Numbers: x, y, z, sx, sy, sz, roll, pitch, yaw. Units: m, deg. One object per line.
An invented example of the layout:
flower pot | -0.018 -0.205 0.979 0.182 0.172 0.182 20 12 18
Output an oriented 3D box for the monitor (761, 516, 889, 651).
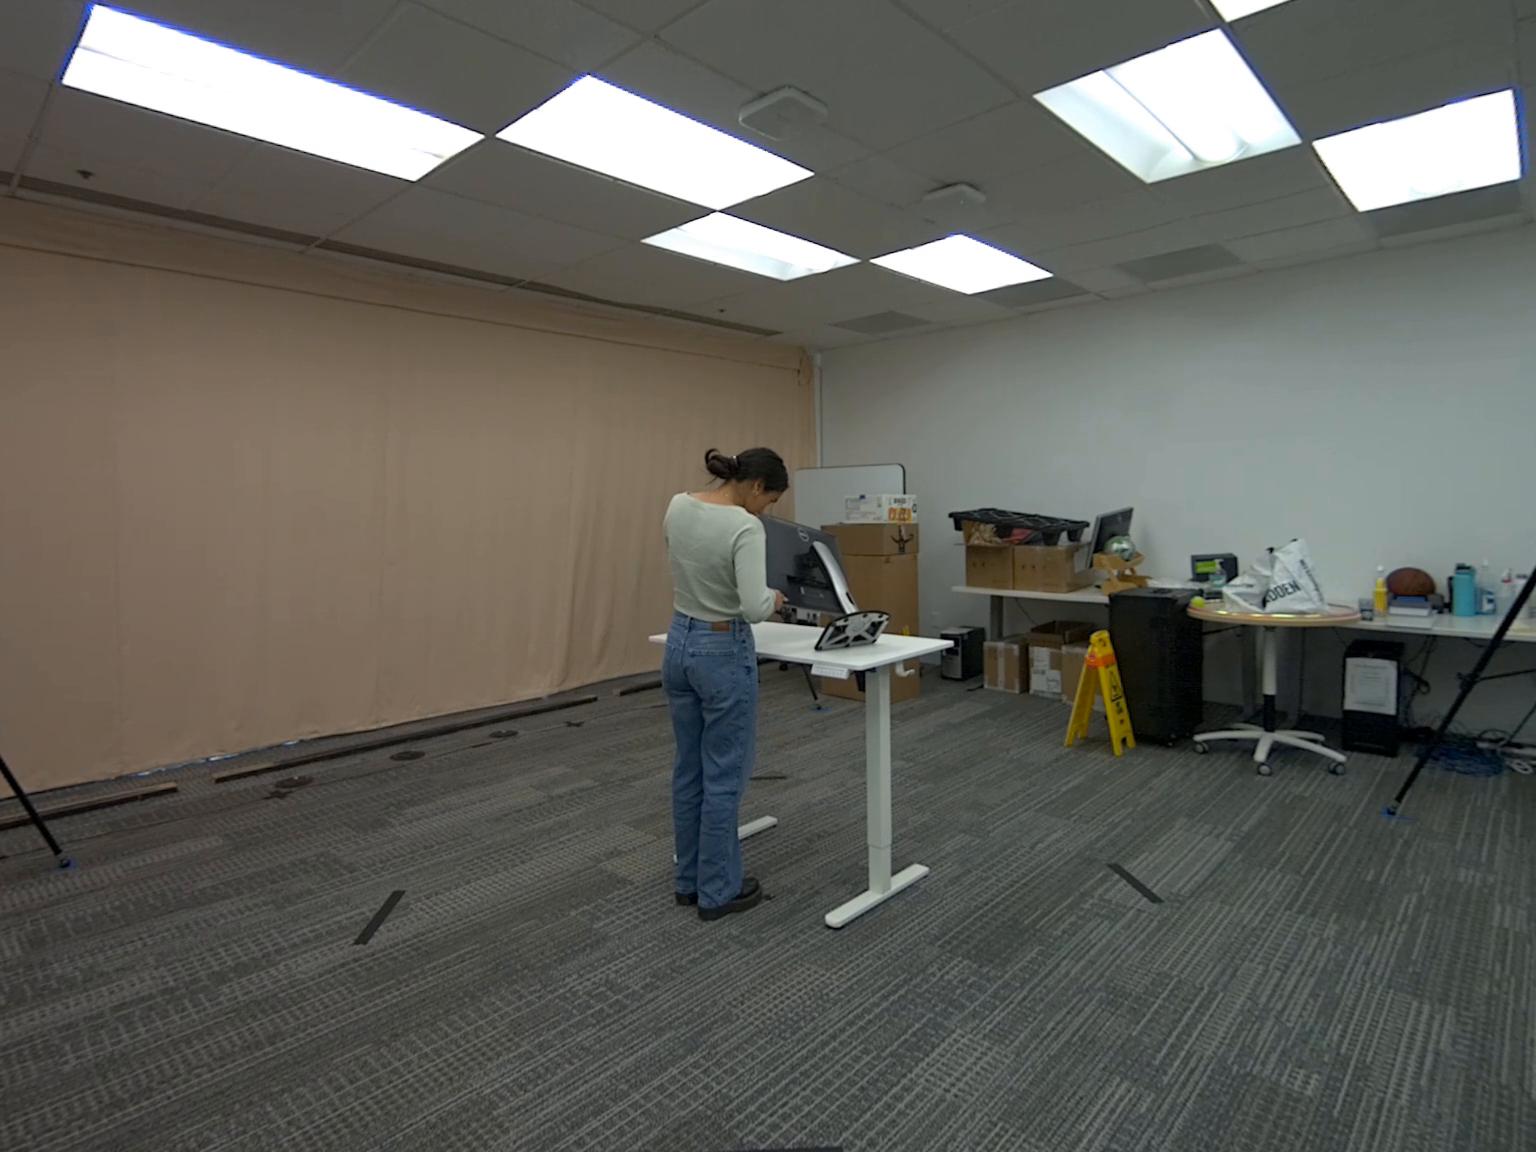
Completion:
monitor | 0.195 0.017 3.067 0.520 0.537 0.188 13 -49 -47
